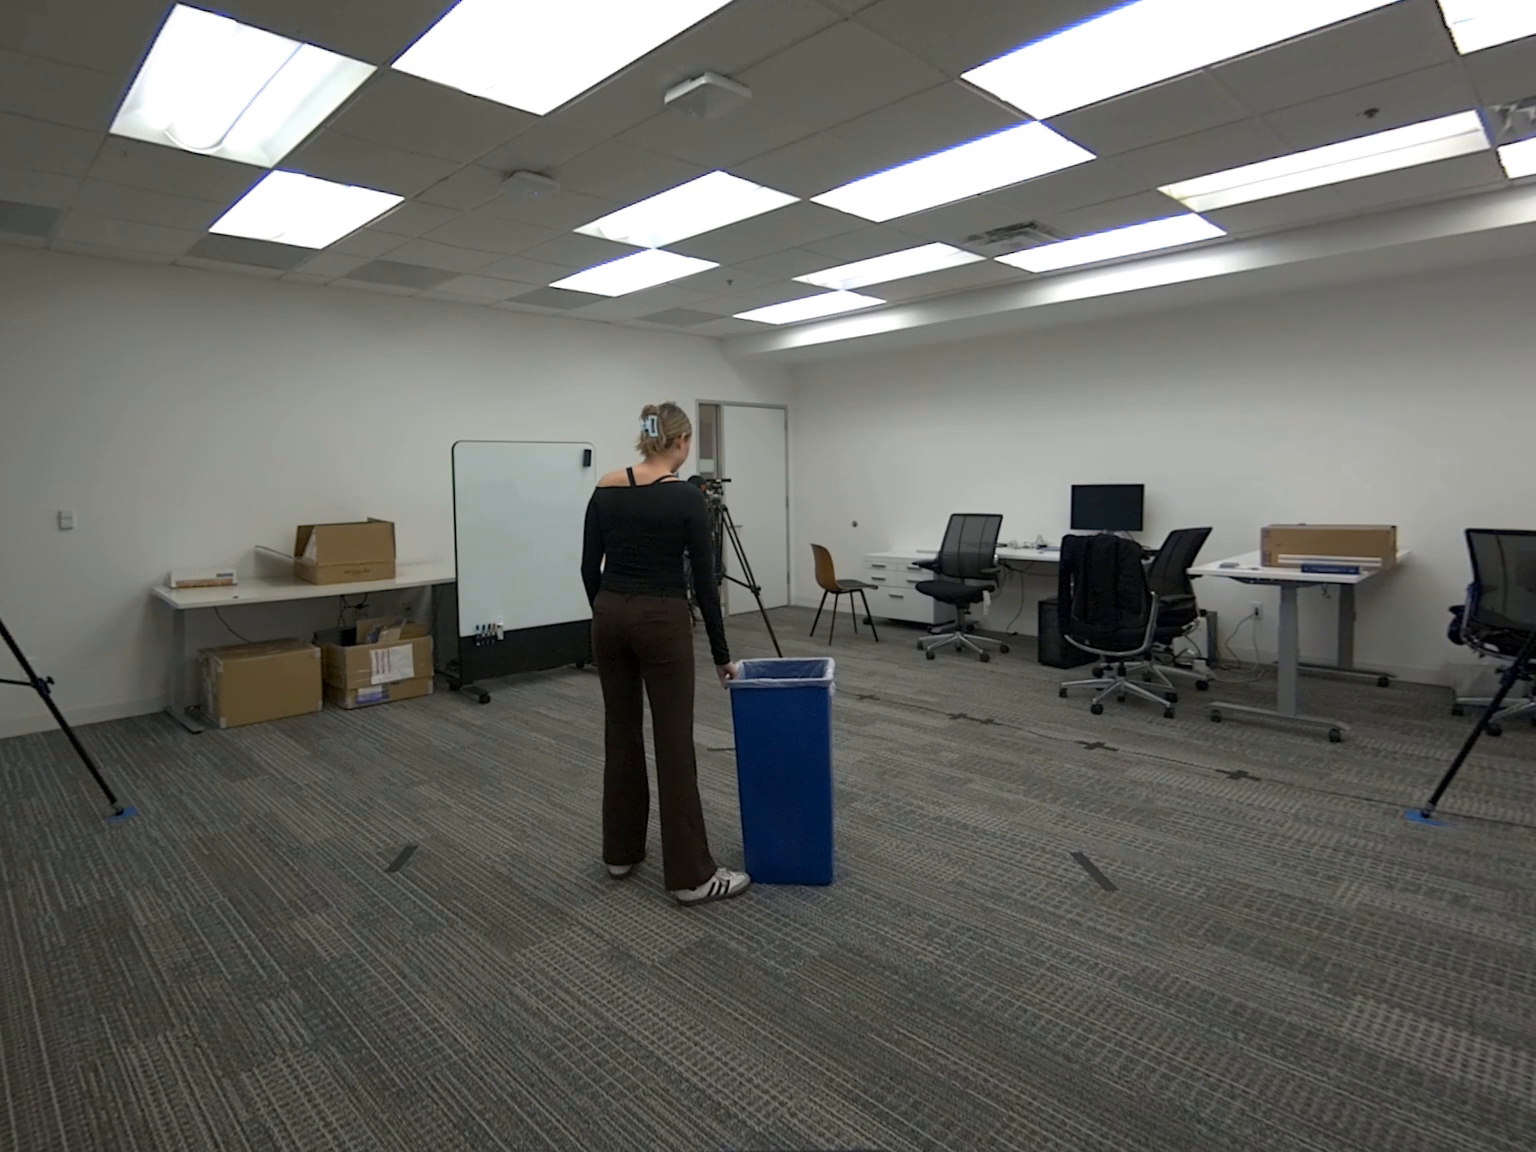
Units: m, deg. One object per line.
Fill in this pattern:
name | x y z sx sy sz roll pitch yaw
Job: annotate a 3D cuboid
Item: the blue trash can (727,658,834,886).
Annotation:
blue trash can | 0.061 0.684 3.068 0.377 0.712 0.376 -2 3 7
